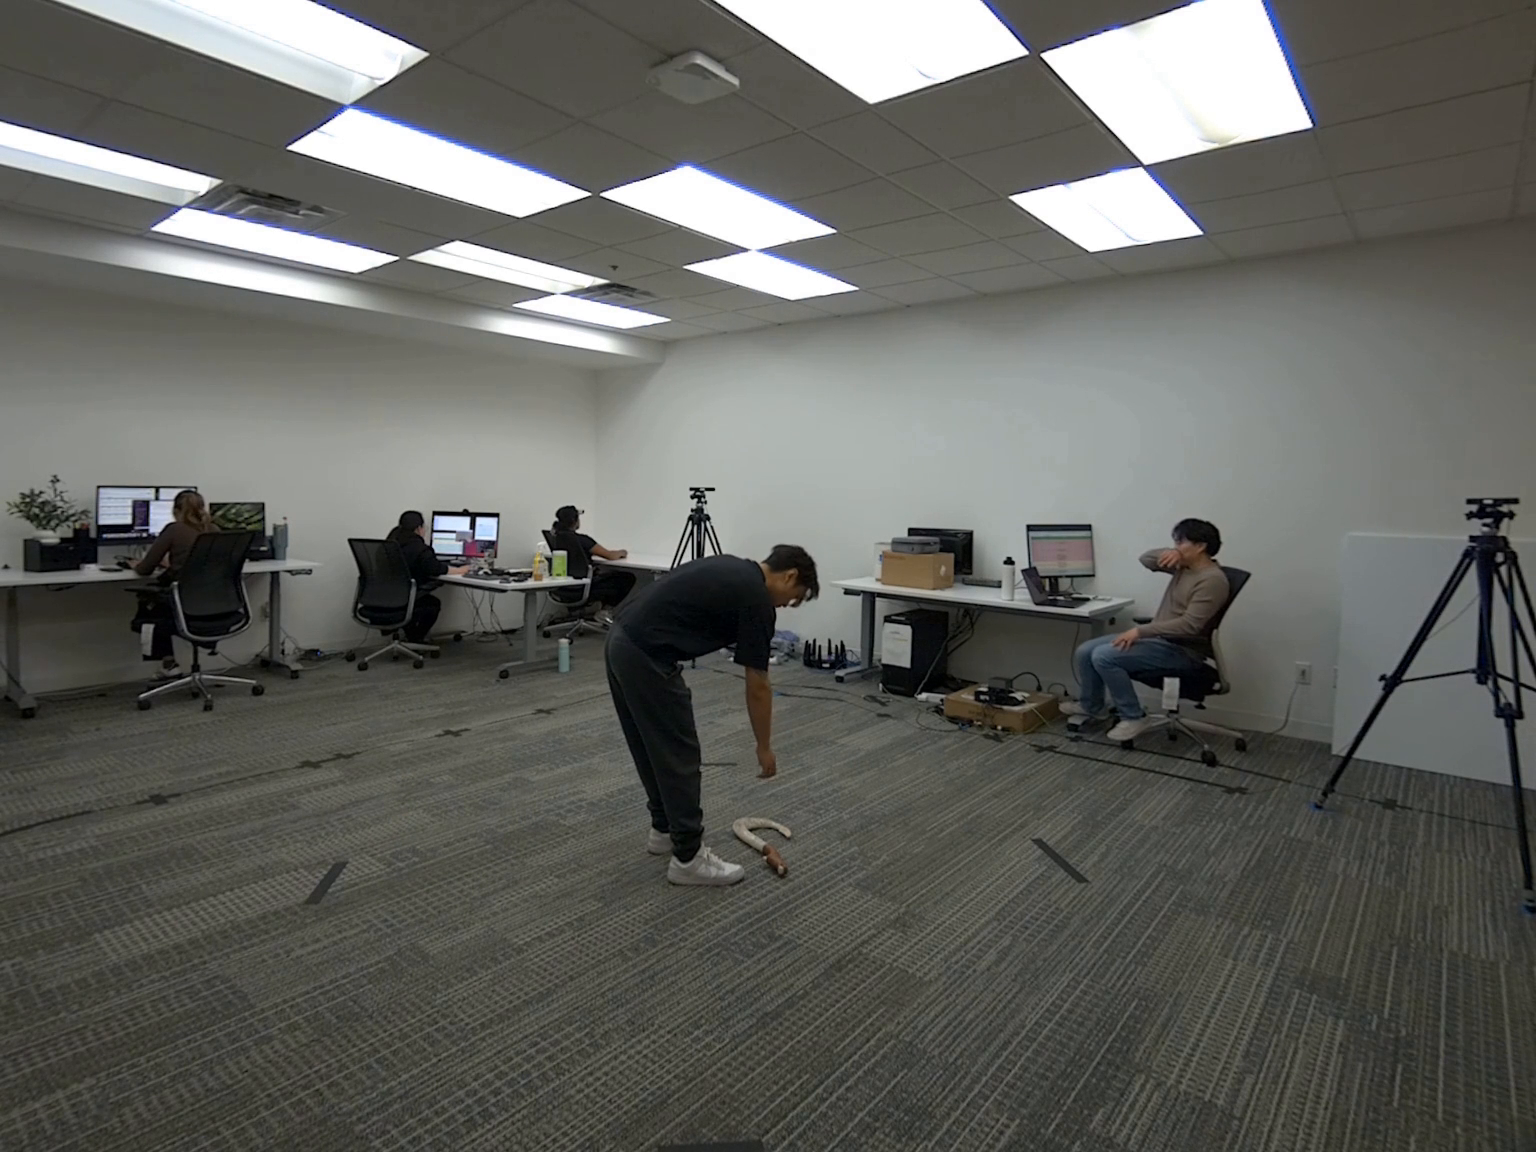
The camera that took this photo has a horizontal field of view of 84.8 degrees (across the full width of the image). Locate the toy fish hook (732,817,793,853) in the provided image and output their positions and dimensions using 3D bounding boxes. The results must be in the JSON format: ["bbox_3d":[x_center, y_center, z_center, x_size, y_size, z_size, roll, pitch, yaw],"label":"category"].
[{"bbox_3d":[0.013,1.028,3.291,0.220,0.048,0.518,-3,7,-19],"label":"toy fish hook"}]
